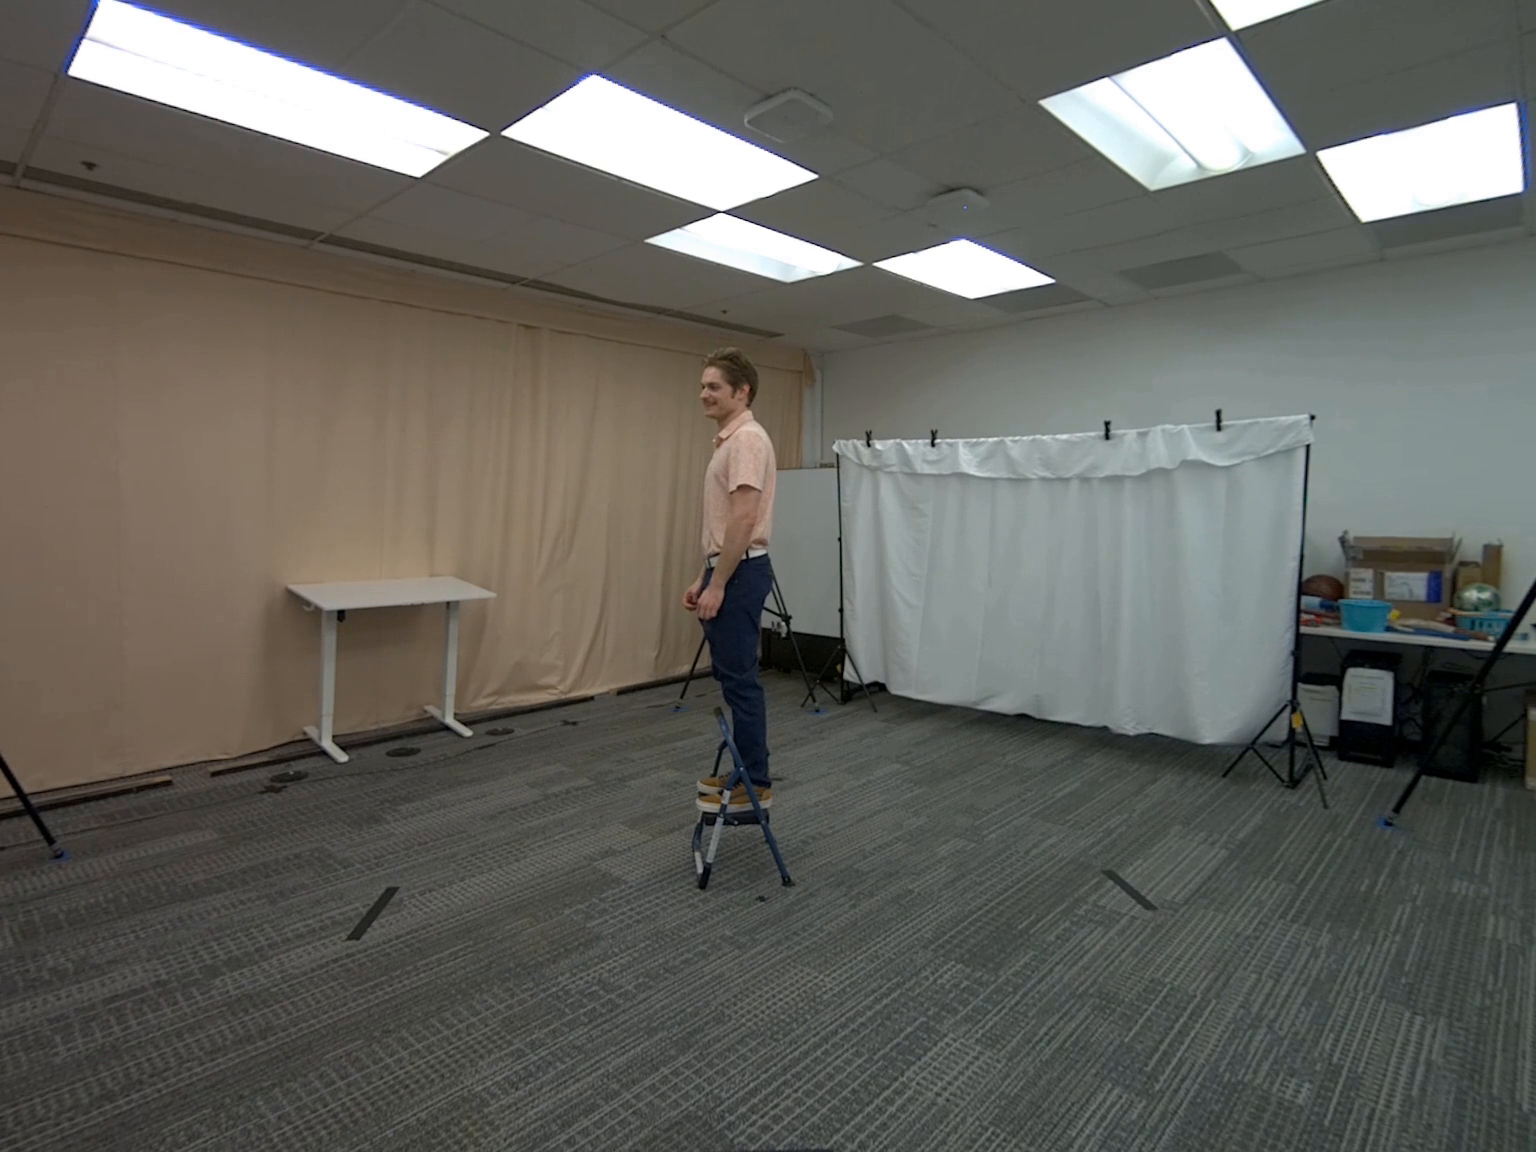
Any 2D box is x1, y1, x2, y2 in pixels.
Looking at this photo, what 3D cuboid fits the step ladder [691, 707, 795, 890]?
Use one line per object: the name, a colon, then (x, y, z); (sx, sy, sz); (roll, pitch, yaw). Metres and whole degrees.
step ladder: (-0.114, 0.822, 3.259); (0.346, 0.605, 0.435); (0, 3, -9)
